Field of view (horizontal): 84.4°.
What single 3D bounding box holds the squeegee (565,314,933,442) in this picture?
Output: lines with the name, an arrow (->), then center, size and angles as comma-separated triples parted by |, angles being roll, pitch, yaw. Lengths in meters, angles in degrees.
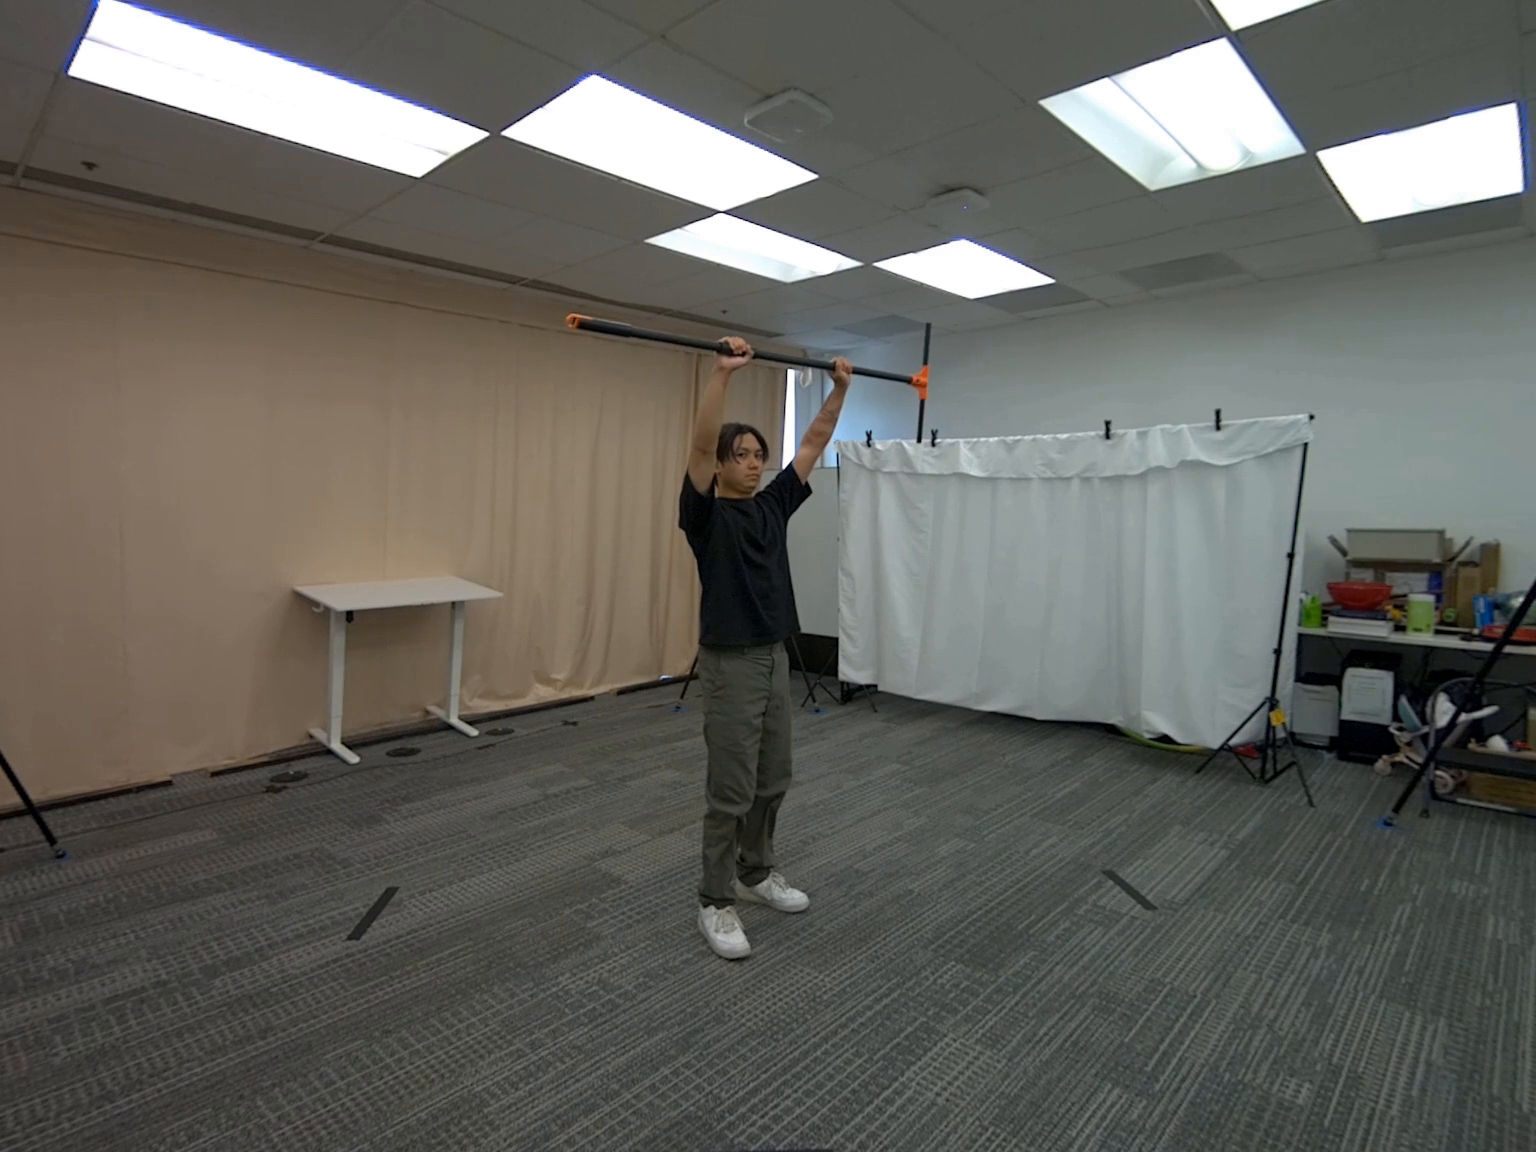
squeegee -> 0.054, -0.664, 2.597 | 1.491, 0.435, 0.055 | -4, 13, -43
